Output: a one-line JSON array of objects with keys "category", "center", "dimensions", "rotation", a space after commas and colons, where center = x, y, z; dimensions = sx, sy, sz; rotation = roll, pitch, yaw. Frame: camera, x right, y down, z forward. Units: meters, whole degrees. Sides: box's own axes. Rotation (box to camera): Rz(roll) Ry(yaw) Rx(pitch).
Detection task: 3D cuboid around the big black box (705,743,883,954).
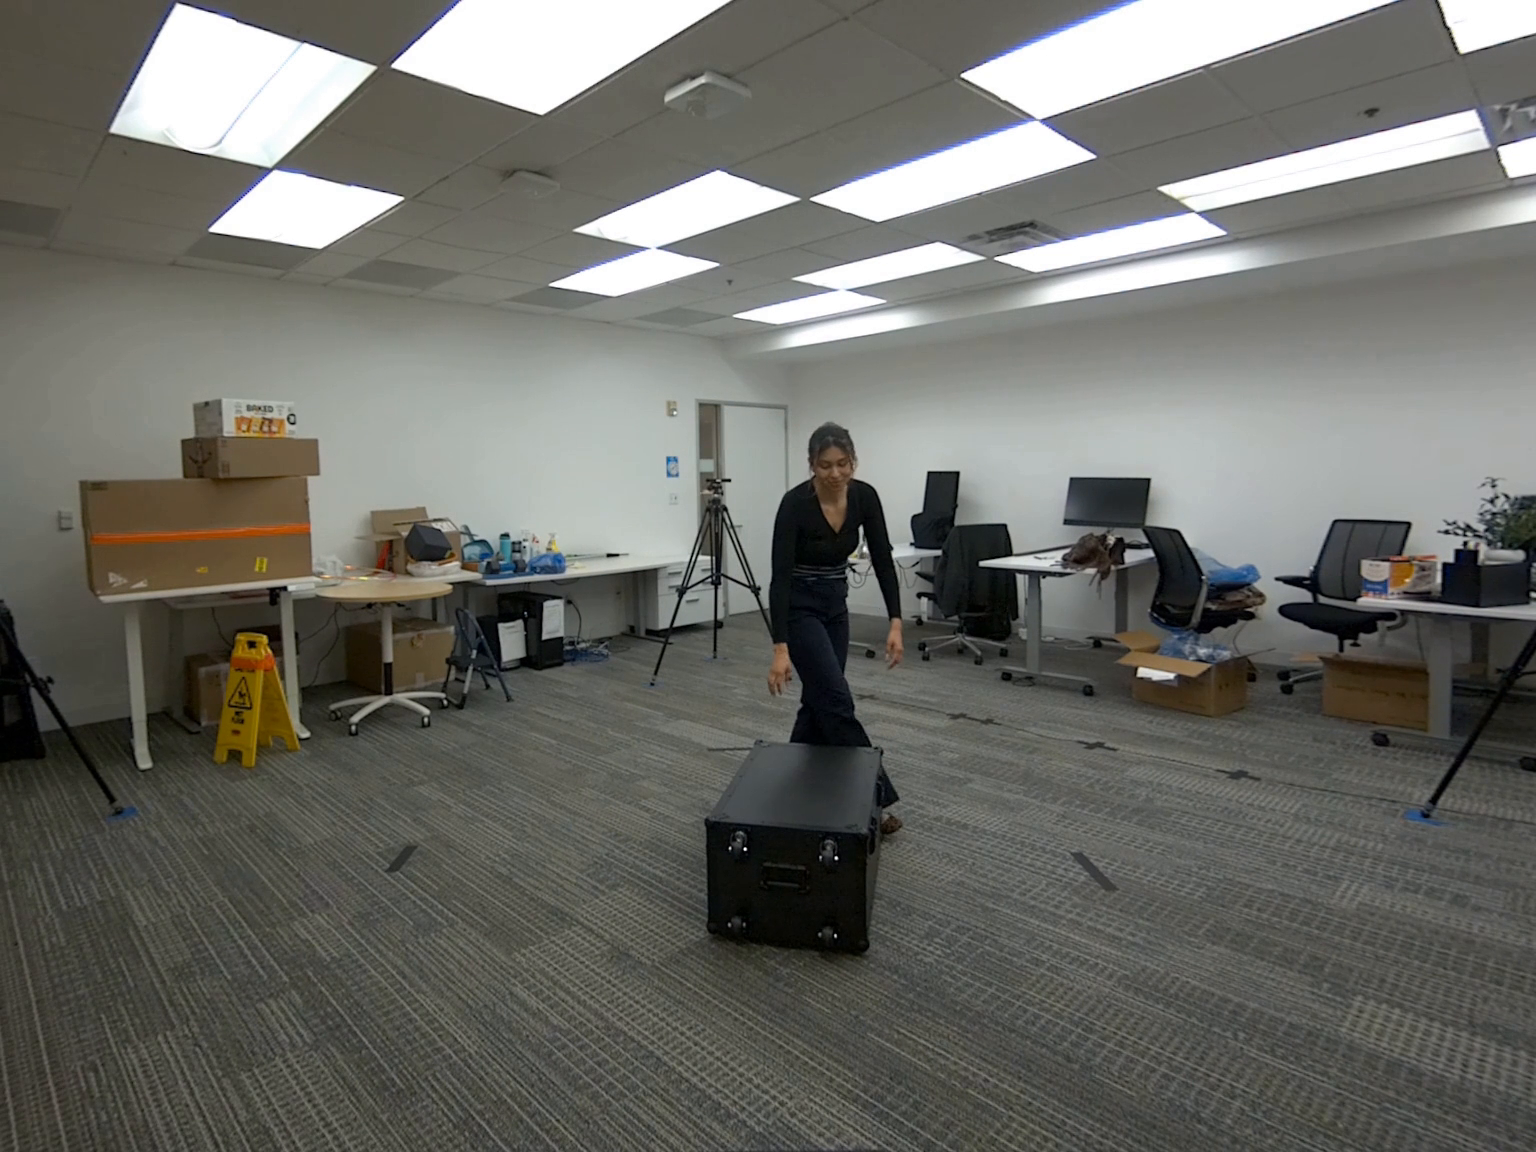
[{"category": "big black box", "center": [0.110, 0.874, 2.865], "dimensions": [0.528, 0.395, 0.854], "rotation": [0, 6, 12]}]
